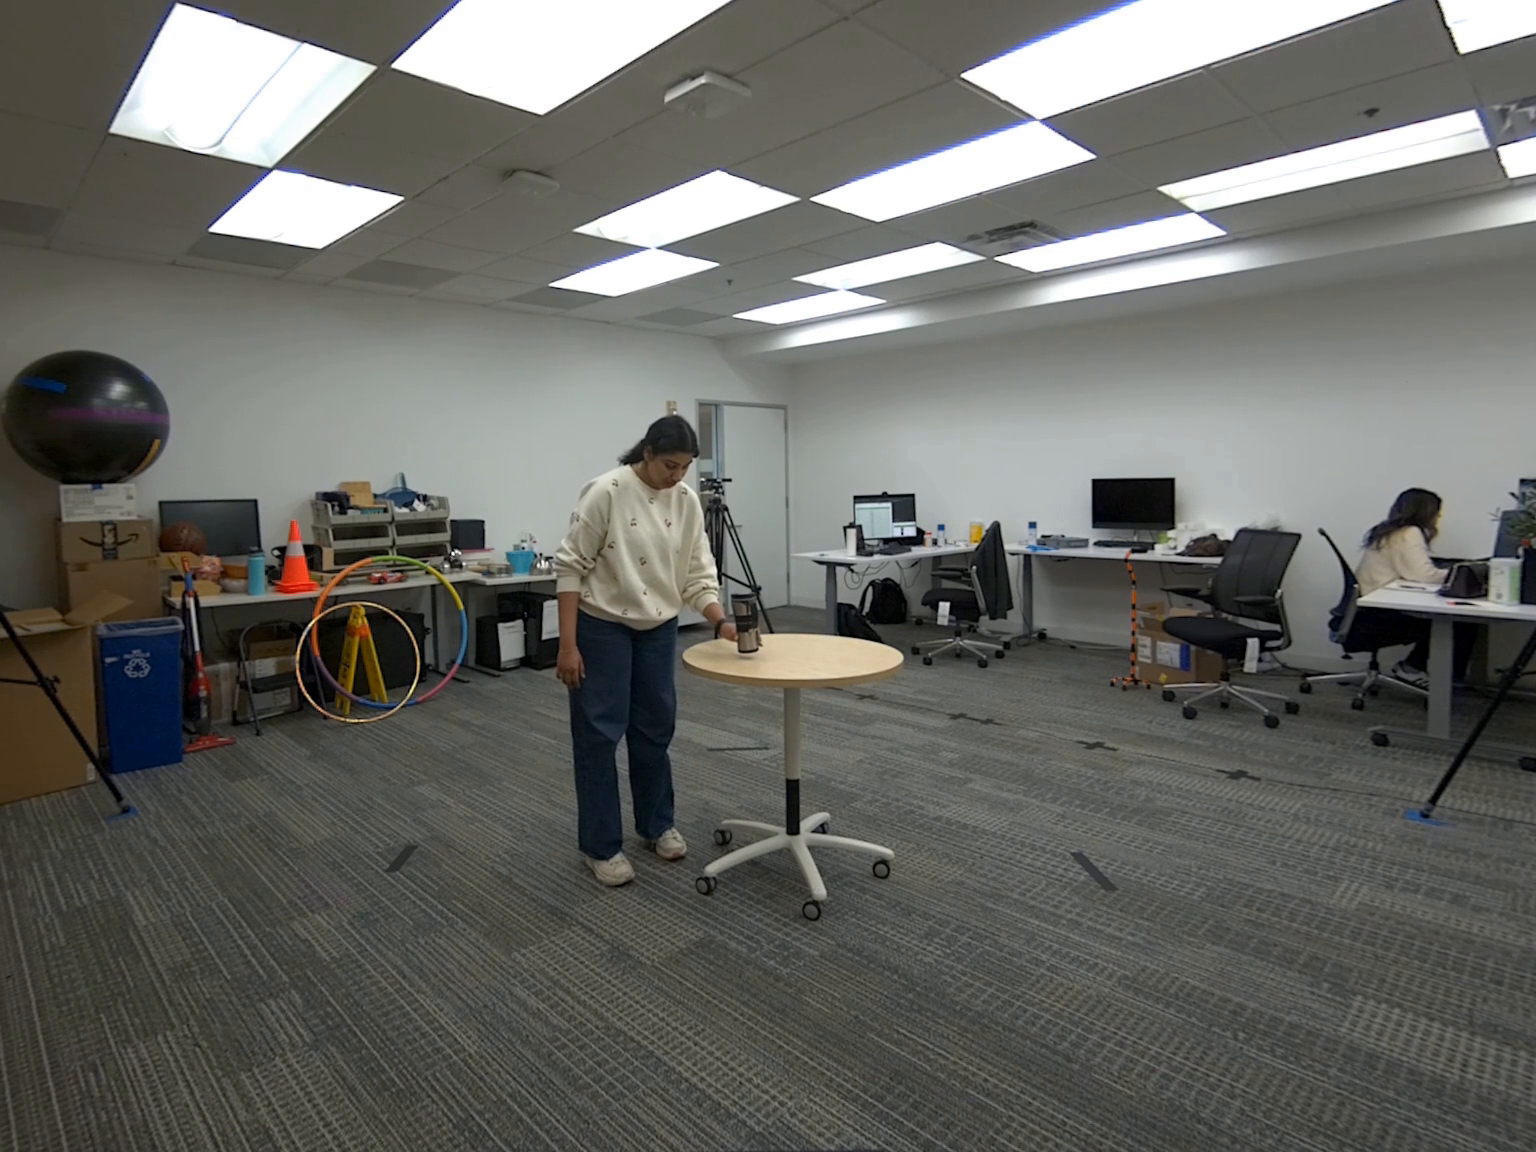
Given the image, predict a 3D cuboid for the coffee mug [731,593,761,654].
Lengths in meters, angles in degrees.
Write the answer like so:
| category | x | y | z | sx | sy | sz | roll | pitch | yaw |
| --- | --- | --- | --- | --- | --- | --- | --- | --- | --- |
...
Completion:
| category | x | y | z | sx | sy | sz | roll | pitch | yaw |
| --- | --- | --- | --- | --- | --- | --- | --- | --- | --- |
| coffee mug | -0.083 | 0.160 | 2.885 | 0.089 | 0.203 | 0.119 | -3 | -1 | 20 |
